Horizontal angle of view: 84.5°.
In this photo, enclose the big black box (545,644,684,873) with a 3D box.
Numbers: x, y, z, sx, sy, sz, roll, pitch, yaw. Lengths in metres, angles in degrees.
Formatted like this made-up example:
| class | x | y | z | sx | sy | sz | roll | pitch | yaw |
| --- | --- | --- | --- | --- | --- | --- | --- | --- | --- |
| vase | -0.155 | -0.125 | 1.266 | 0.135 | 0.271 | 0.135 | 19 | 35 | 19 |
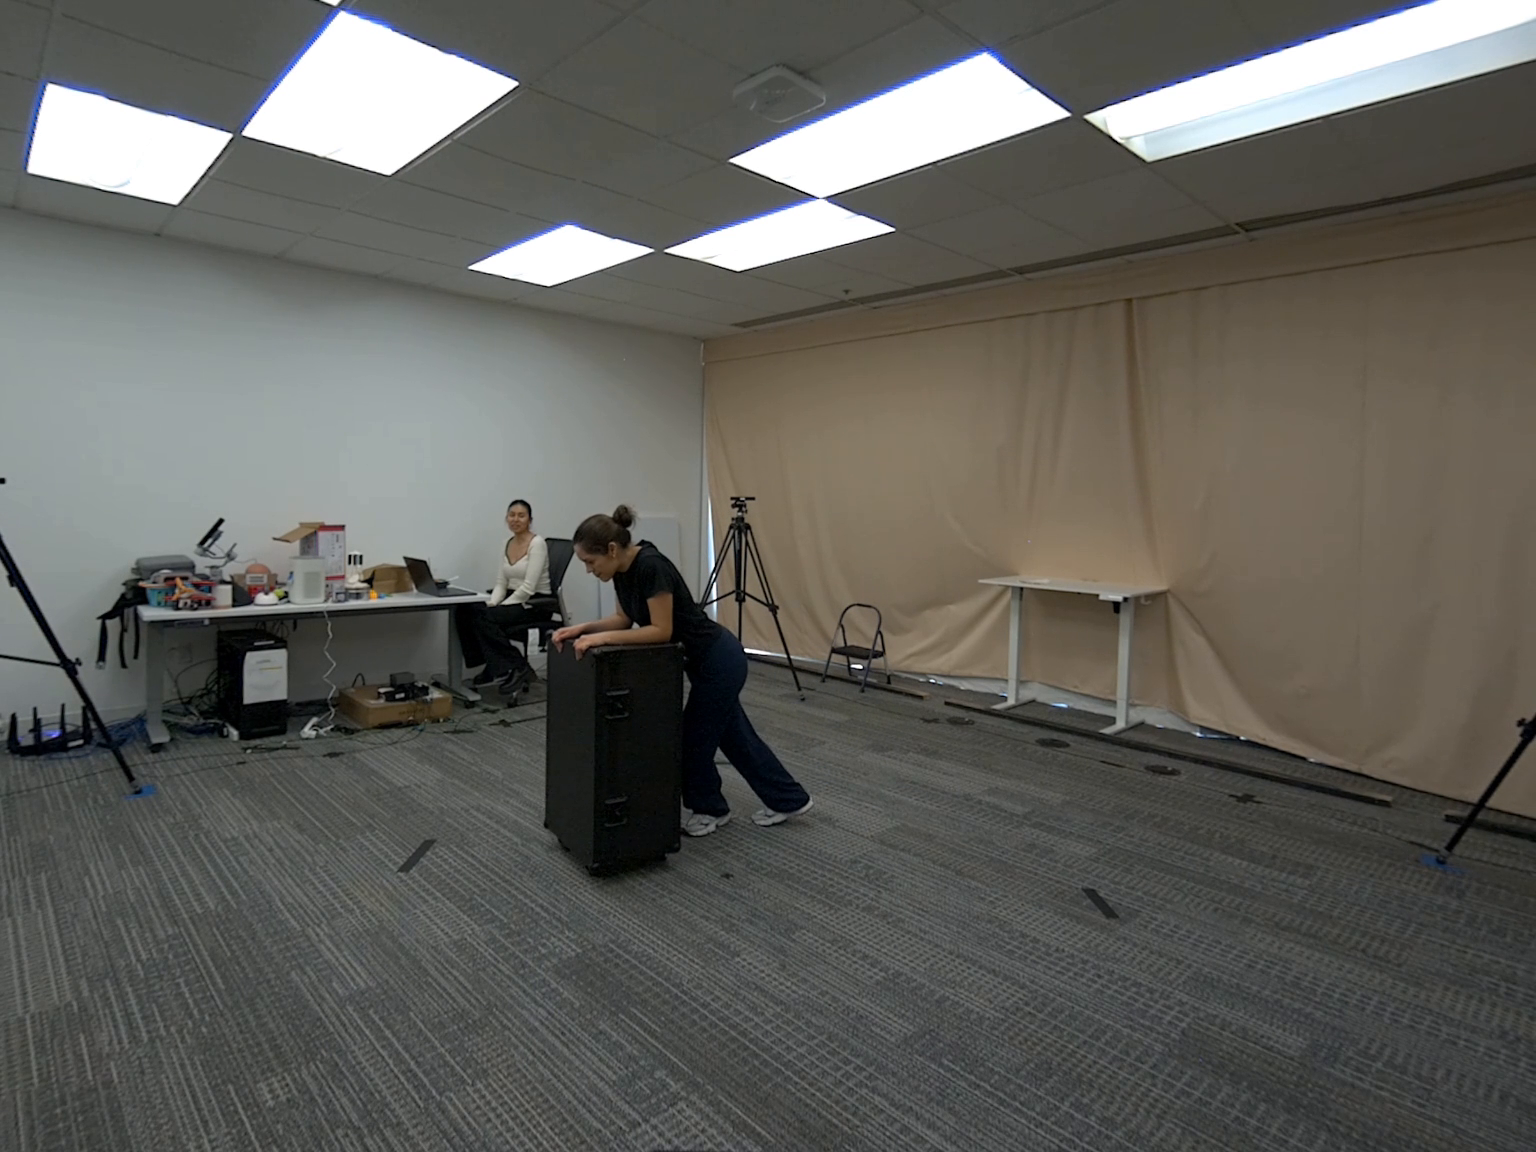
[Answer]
| class | x | y | z | sx | sy | sz | roll | pitch | yaw |
| --- | --- | --- | --- | --- | --- | --- | --- | --- | --- |
| big black box | -0.594 | 0.606 | 3.209 | 0.388 | 0.859 | 0.533 | -2 | 4 | -34 |
